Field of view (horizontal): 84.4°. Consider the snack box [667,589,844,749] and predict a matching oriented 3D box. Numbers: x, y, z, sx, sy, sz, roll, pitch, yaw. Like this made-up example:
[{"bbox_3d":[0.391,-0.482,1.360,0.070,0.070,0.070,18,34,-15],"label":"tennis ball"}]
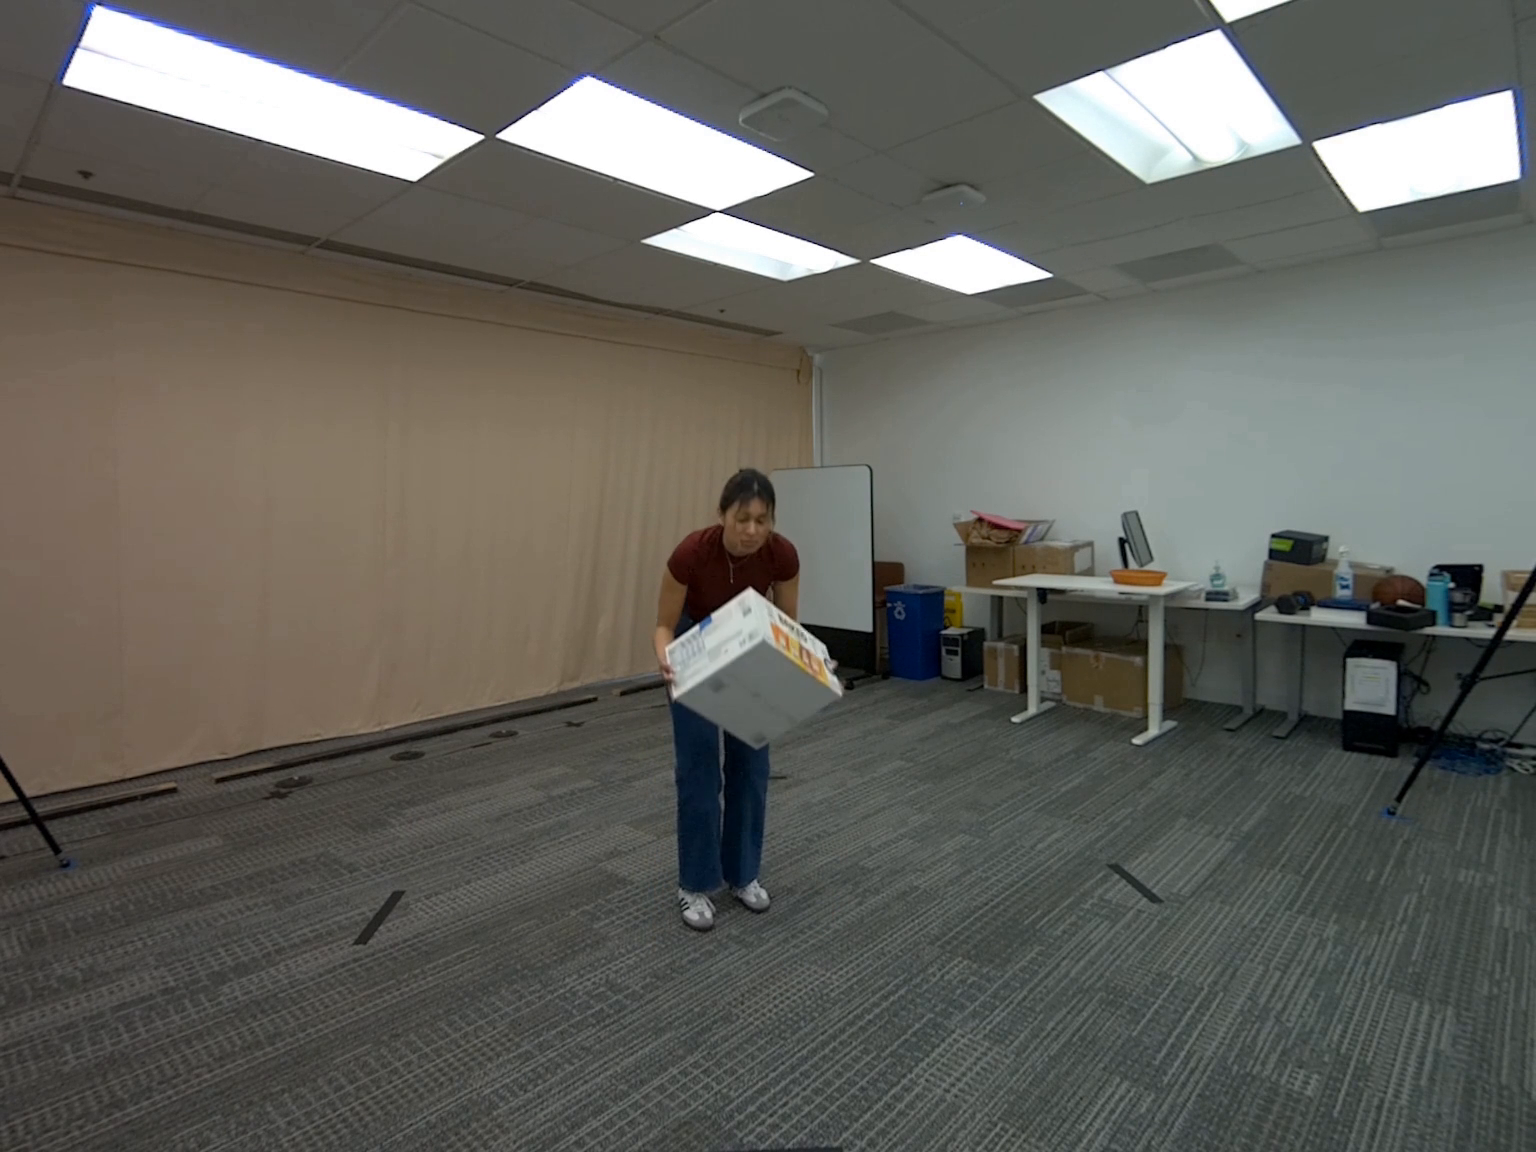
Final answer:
[{"bbox_3d":[-0.040,0.300,2.555,0.343,0.211,0.391,-36,-49,19],"label":"snack box"}]
